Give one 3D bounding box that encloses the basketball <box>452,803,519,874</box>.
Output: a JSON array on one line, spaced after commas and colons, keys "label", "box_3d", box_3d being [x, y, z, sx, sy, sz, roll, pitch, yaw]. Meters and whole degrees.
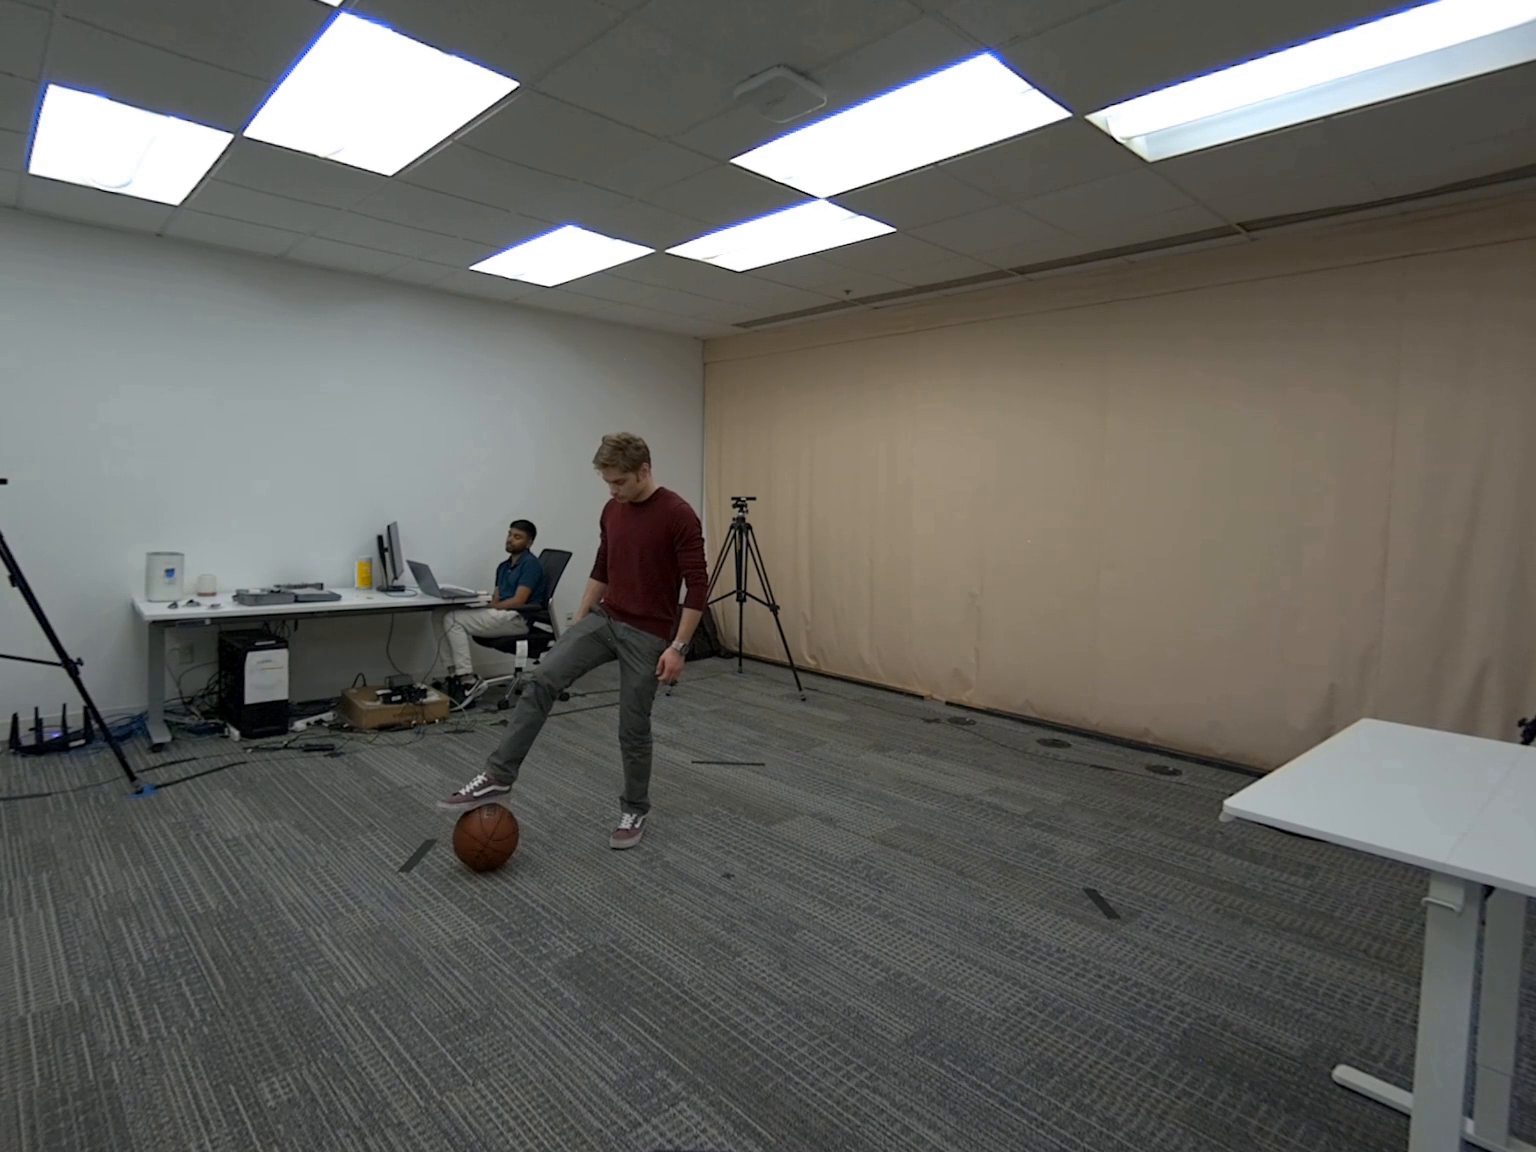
[{"label": "basketball", "box_3d": [-1.054, 0.967, 3.127, 0.236, 0.235, 0.237, 1, 4, -1]}]
